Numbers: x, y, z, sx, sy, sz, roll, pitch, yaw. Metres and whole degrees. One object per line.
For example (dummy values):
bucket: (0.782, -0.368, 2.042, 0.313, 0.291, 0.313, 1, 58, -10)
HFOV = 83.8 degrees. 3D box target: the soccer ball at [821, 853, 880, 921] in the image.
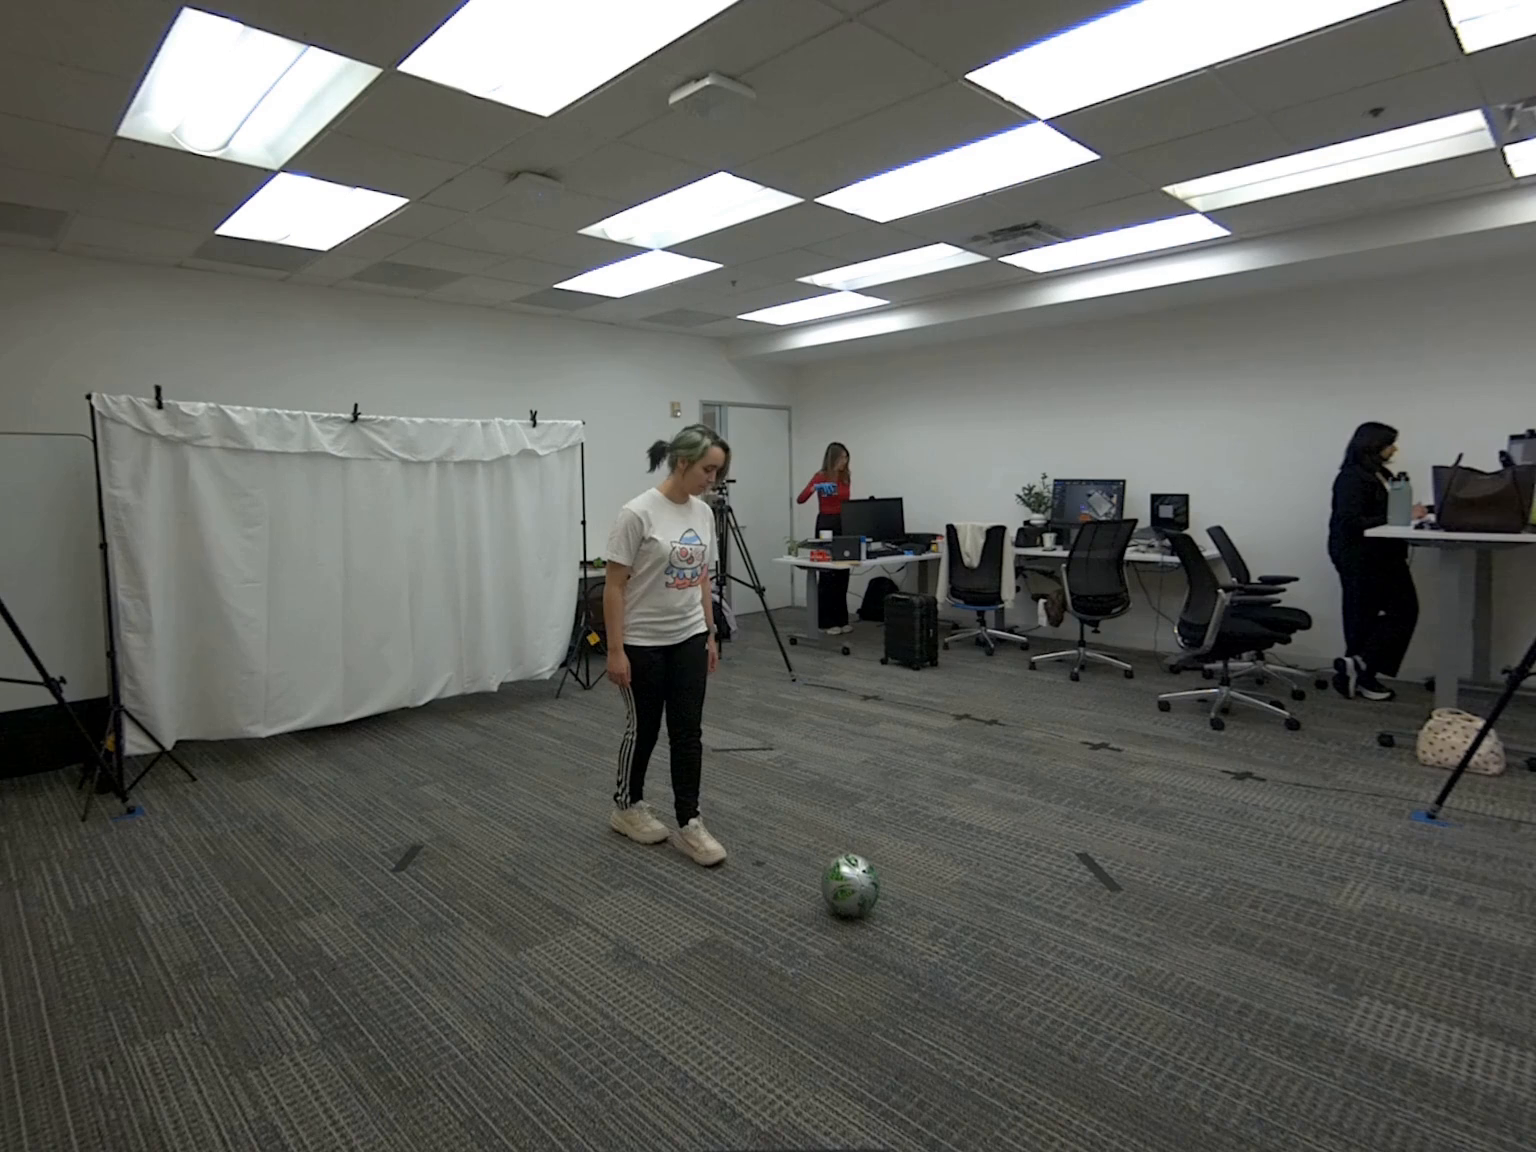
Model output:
soccer ball: (0.264, 0.987, 2.737, 0.187, 0.187, 0.188, -1, 5, -2)
